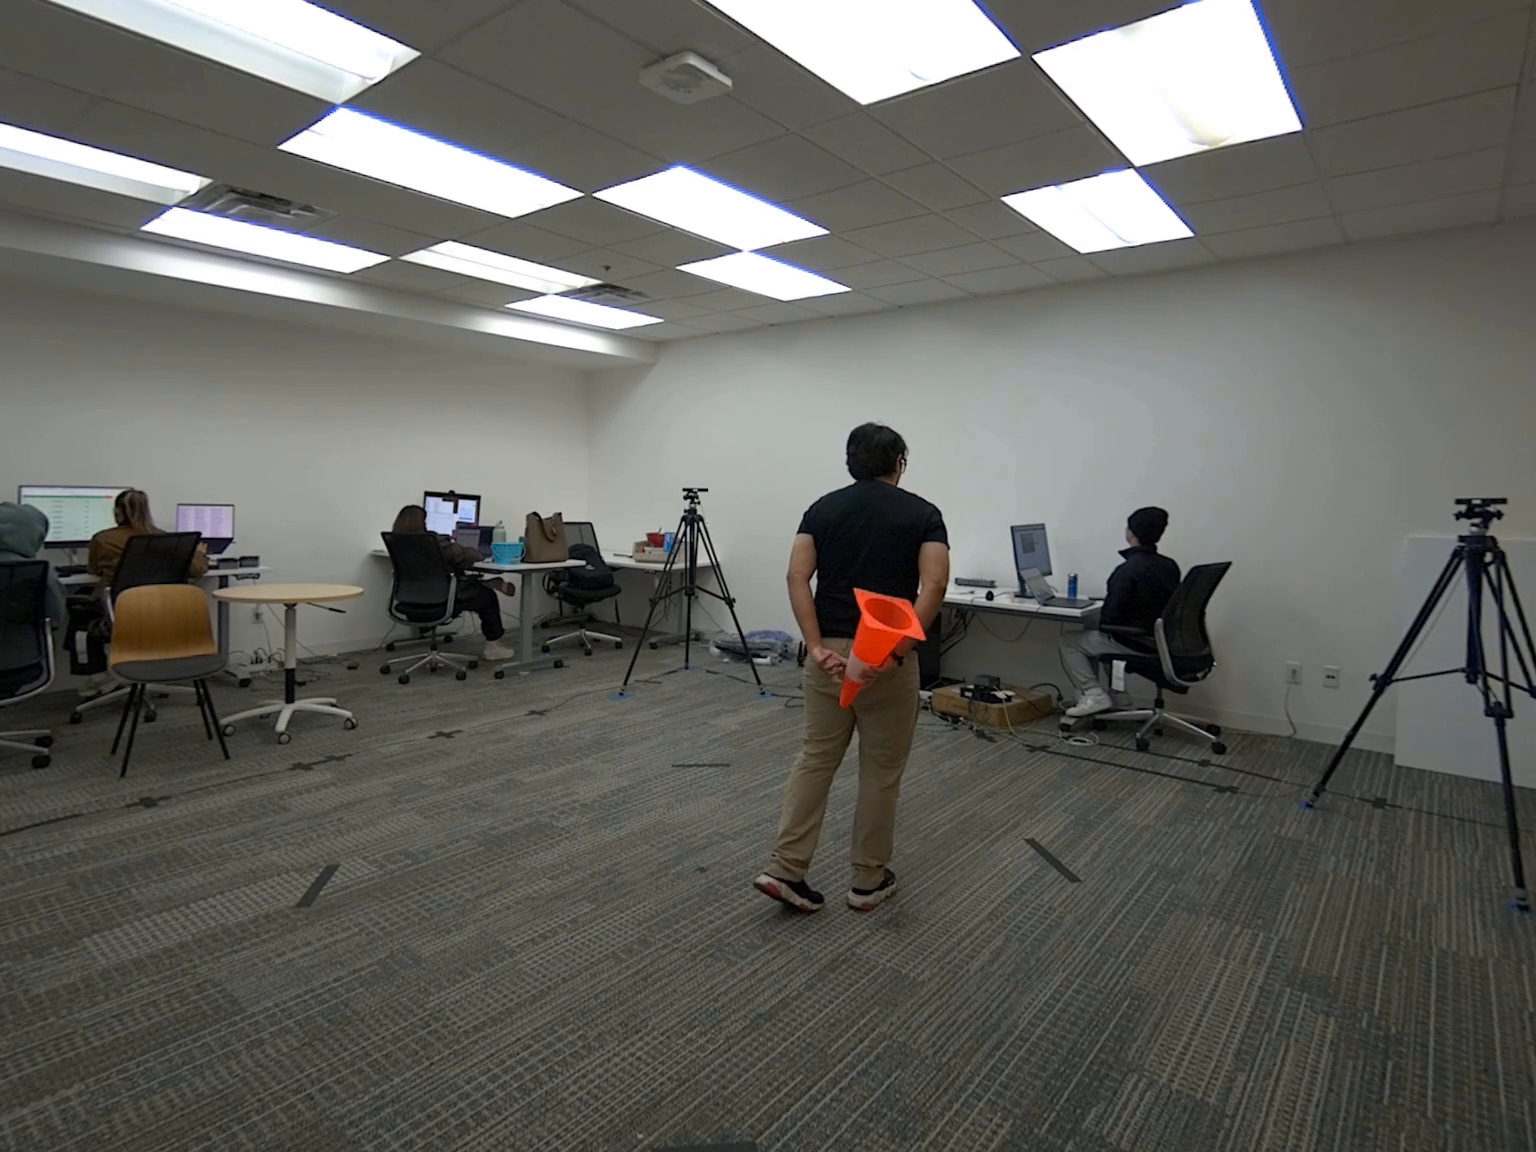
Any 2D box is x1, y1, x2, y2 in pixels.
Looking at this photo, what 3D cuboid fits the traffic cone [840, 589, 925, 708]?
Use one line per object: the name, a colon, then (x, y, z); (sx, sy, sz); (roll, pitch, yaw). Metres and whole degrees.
traffic cone: (0.312, 0.273, 2.682); (0.202, 0.378, 0.209); (17, 30, -5)
